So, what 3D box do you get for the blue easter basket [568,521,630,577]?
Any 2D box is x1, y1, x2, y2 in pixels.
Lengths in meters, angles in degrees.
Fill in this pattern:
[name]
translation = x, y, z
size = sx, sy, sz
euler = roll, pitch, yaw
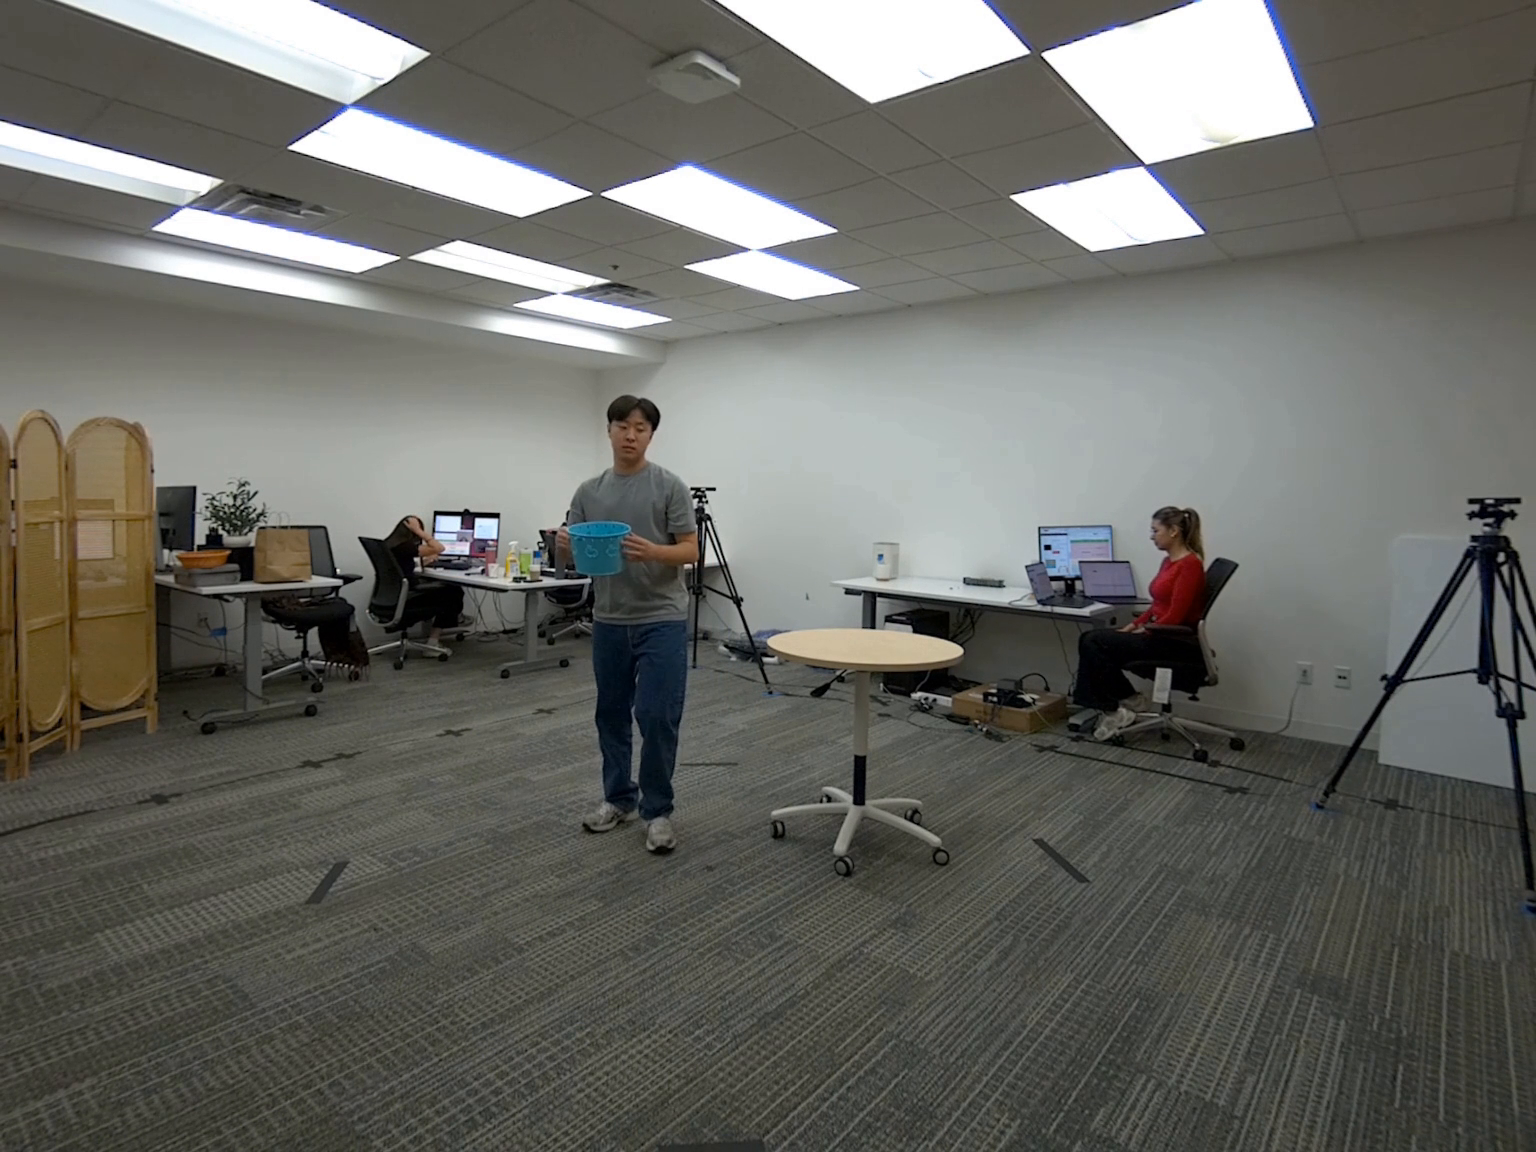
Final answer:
[blue easter basket]
translation = -0.631, -0.105, 3.125
size = 0.243, 0.154, 0.247
euler = 1, 15, -2
